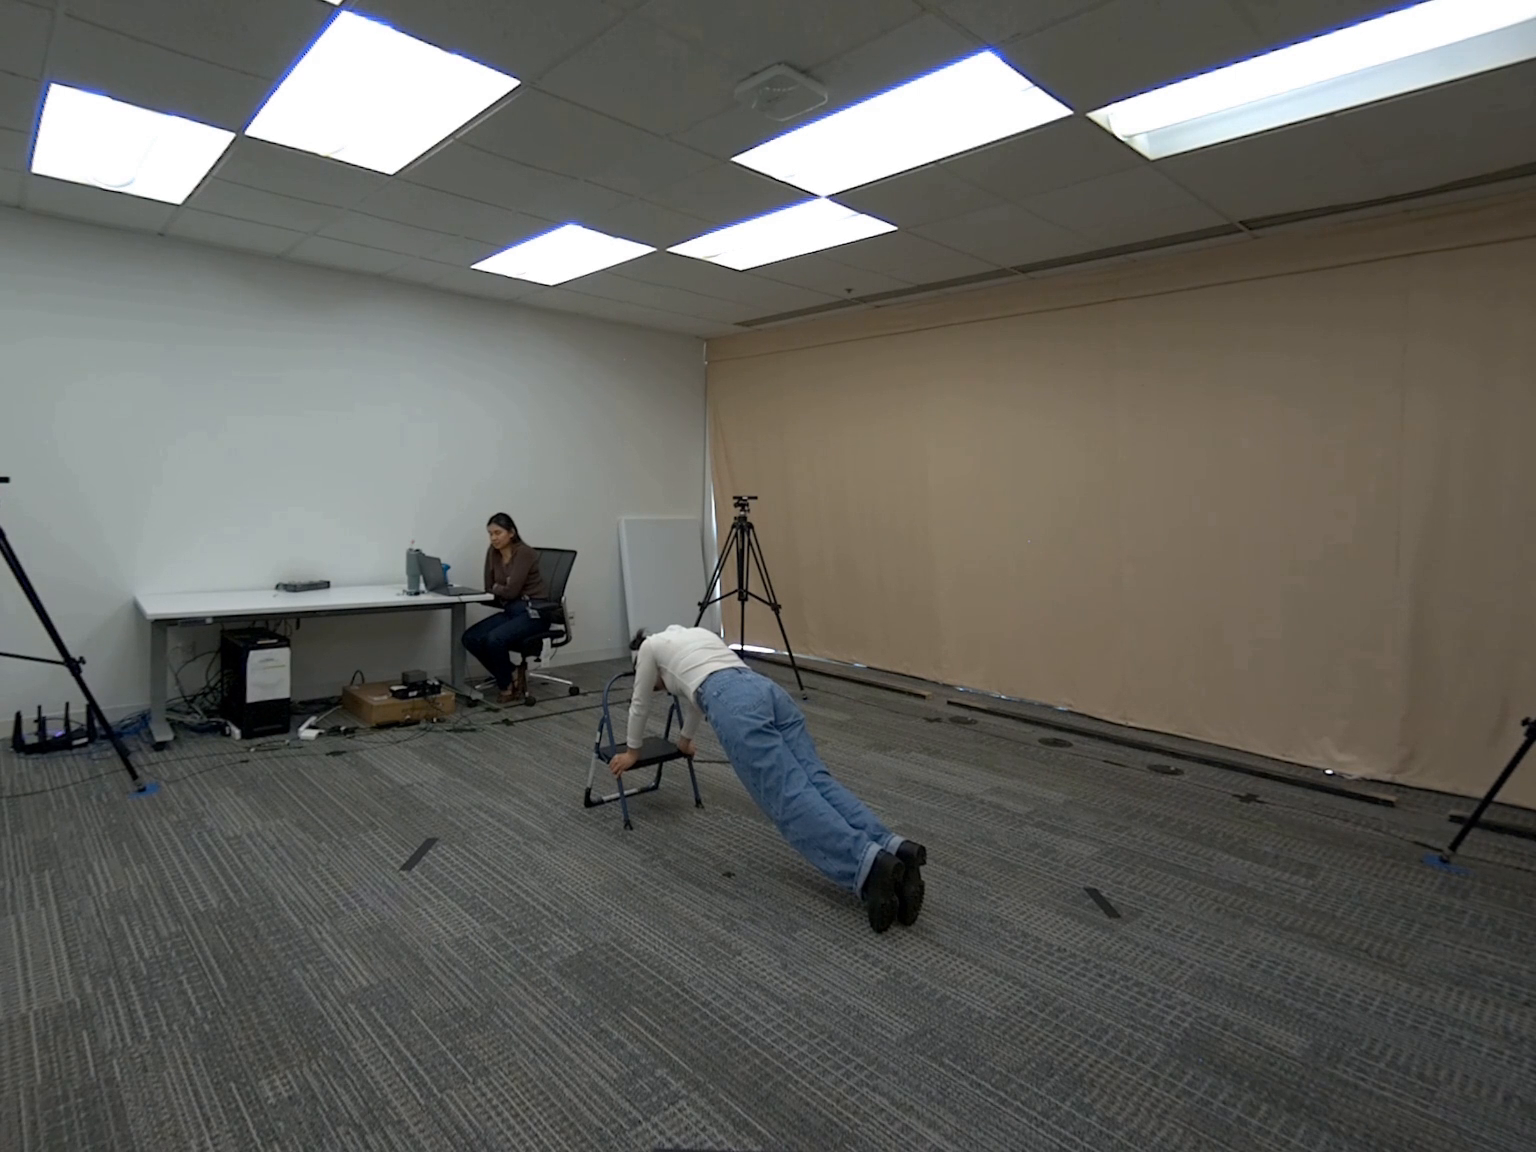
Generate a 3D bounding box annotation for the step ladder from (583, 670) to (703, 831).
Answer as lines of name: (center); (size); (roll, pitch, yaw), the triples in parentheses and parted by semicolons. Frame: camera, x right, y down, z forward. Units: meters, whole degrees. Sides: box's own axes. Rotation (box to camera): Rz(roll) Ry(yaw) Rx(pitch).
step ladder: (-0.559, 0.737, 3.755); (0.421, 0.605, 0.358); (-2, 5, -45)
